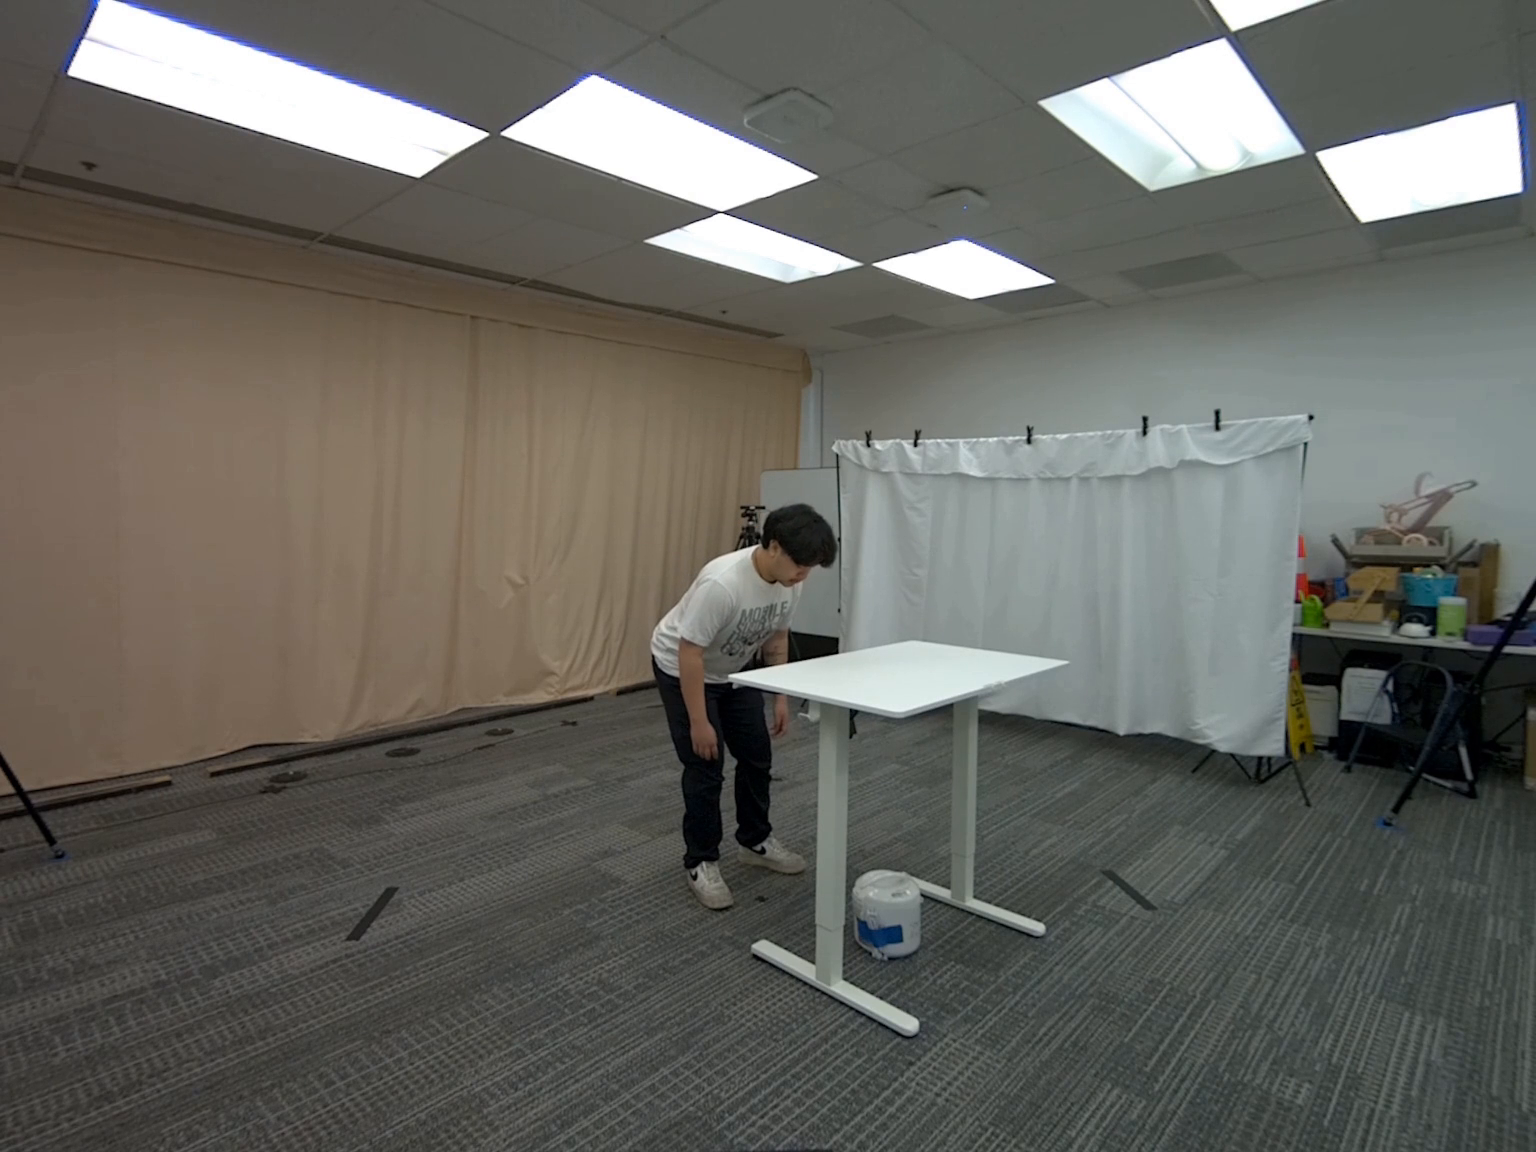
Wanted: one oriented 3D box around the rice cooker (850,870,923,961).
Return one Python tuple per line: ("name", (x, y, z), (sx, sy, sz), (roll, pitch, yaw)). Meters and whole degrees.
("rice cooker", (0.380, 1.053, 2.668), (0.216, 0.232, 0.222), (-1, 4, -18))
